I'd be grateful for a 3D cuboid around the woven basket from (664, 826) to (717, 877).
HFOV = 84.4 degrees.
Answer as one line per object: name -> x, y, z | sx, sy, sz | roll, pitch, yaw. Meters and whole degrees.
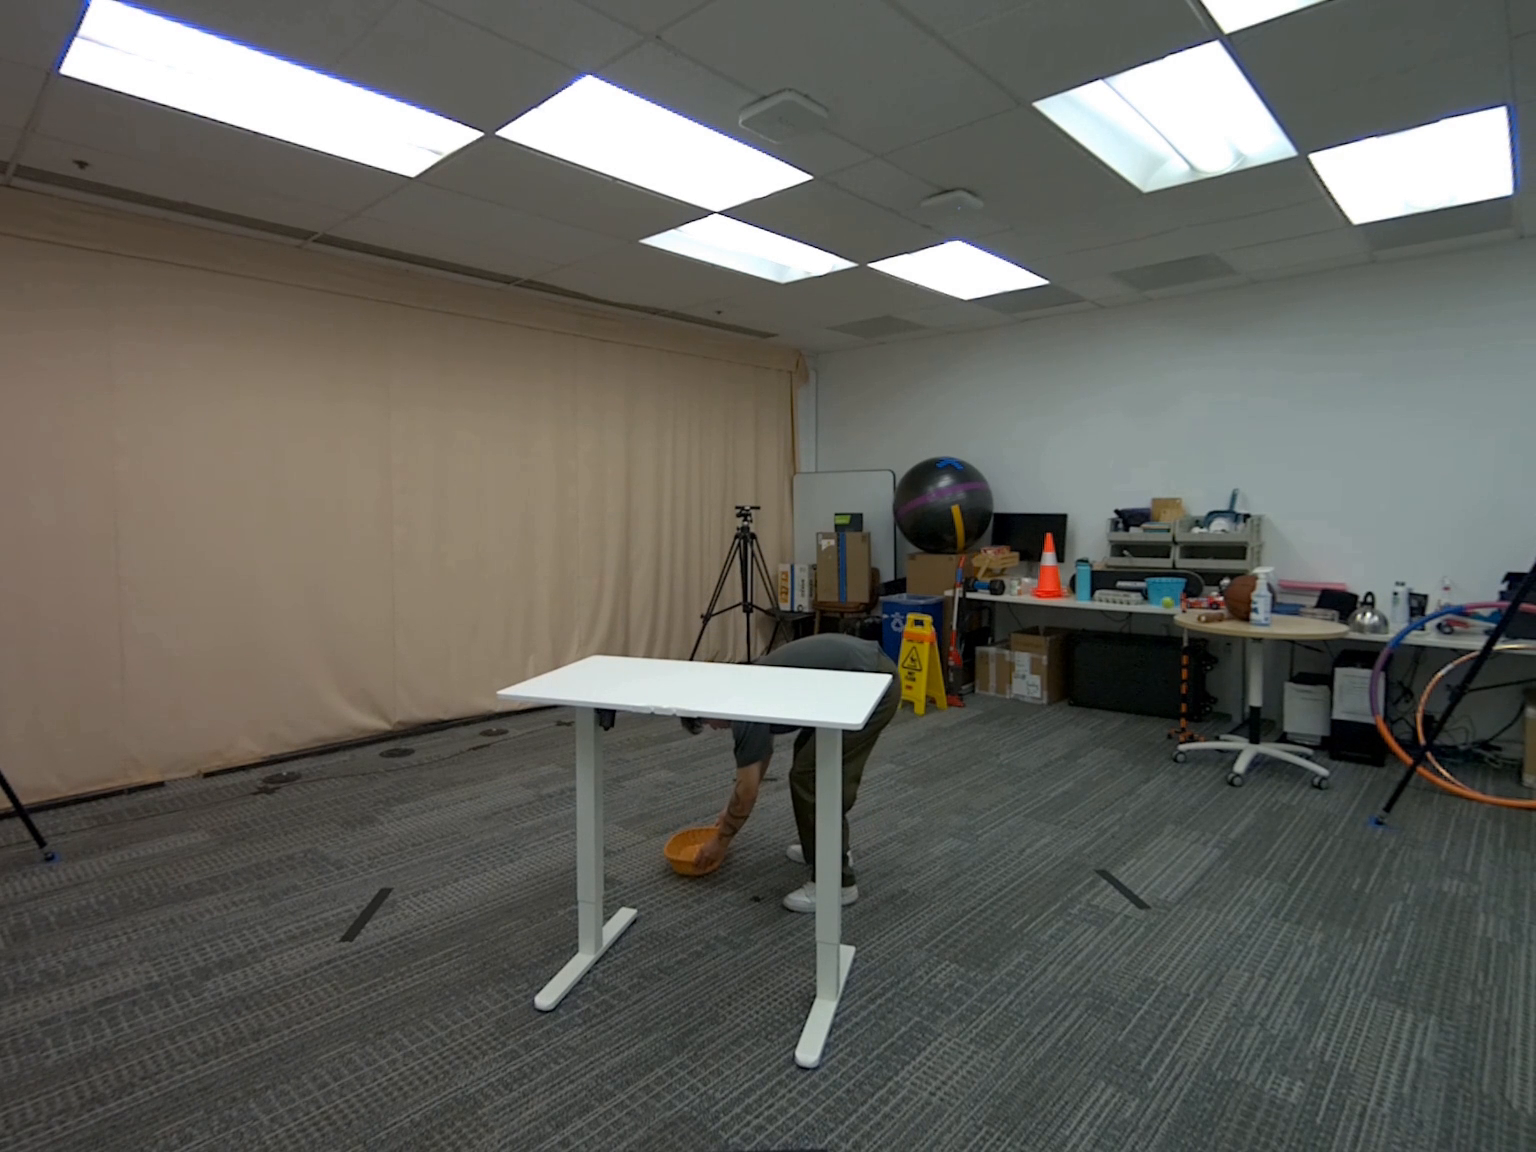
woven basket -> -0.270, 1.063, 3.267 | 0.257, 0.073, 0.345 | -2, 4, 15
